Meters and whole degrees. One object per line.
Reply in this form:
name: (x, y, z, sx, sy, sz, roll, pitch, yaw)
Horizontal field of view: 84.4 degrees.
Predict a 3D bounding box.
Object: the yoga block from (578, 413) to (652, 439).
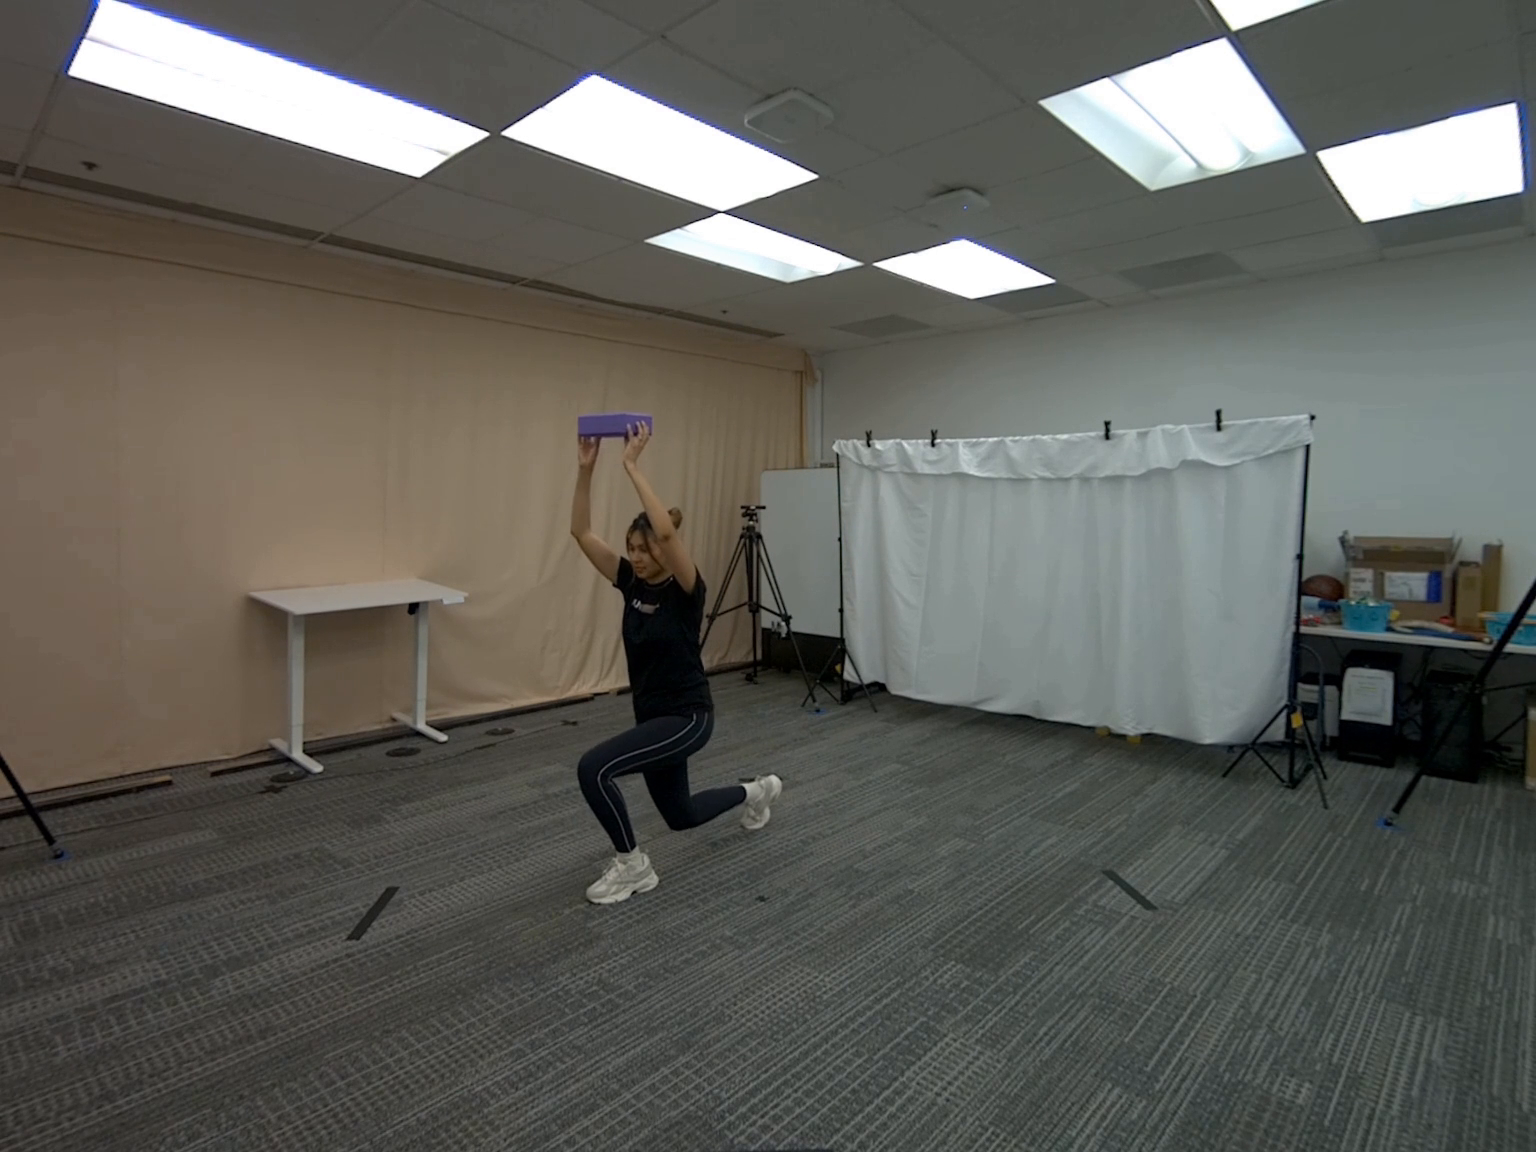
yoga block: (-0.537, -0.540, 2.930, 0.236, 0.076, 0.145, 5, 8, 34)
